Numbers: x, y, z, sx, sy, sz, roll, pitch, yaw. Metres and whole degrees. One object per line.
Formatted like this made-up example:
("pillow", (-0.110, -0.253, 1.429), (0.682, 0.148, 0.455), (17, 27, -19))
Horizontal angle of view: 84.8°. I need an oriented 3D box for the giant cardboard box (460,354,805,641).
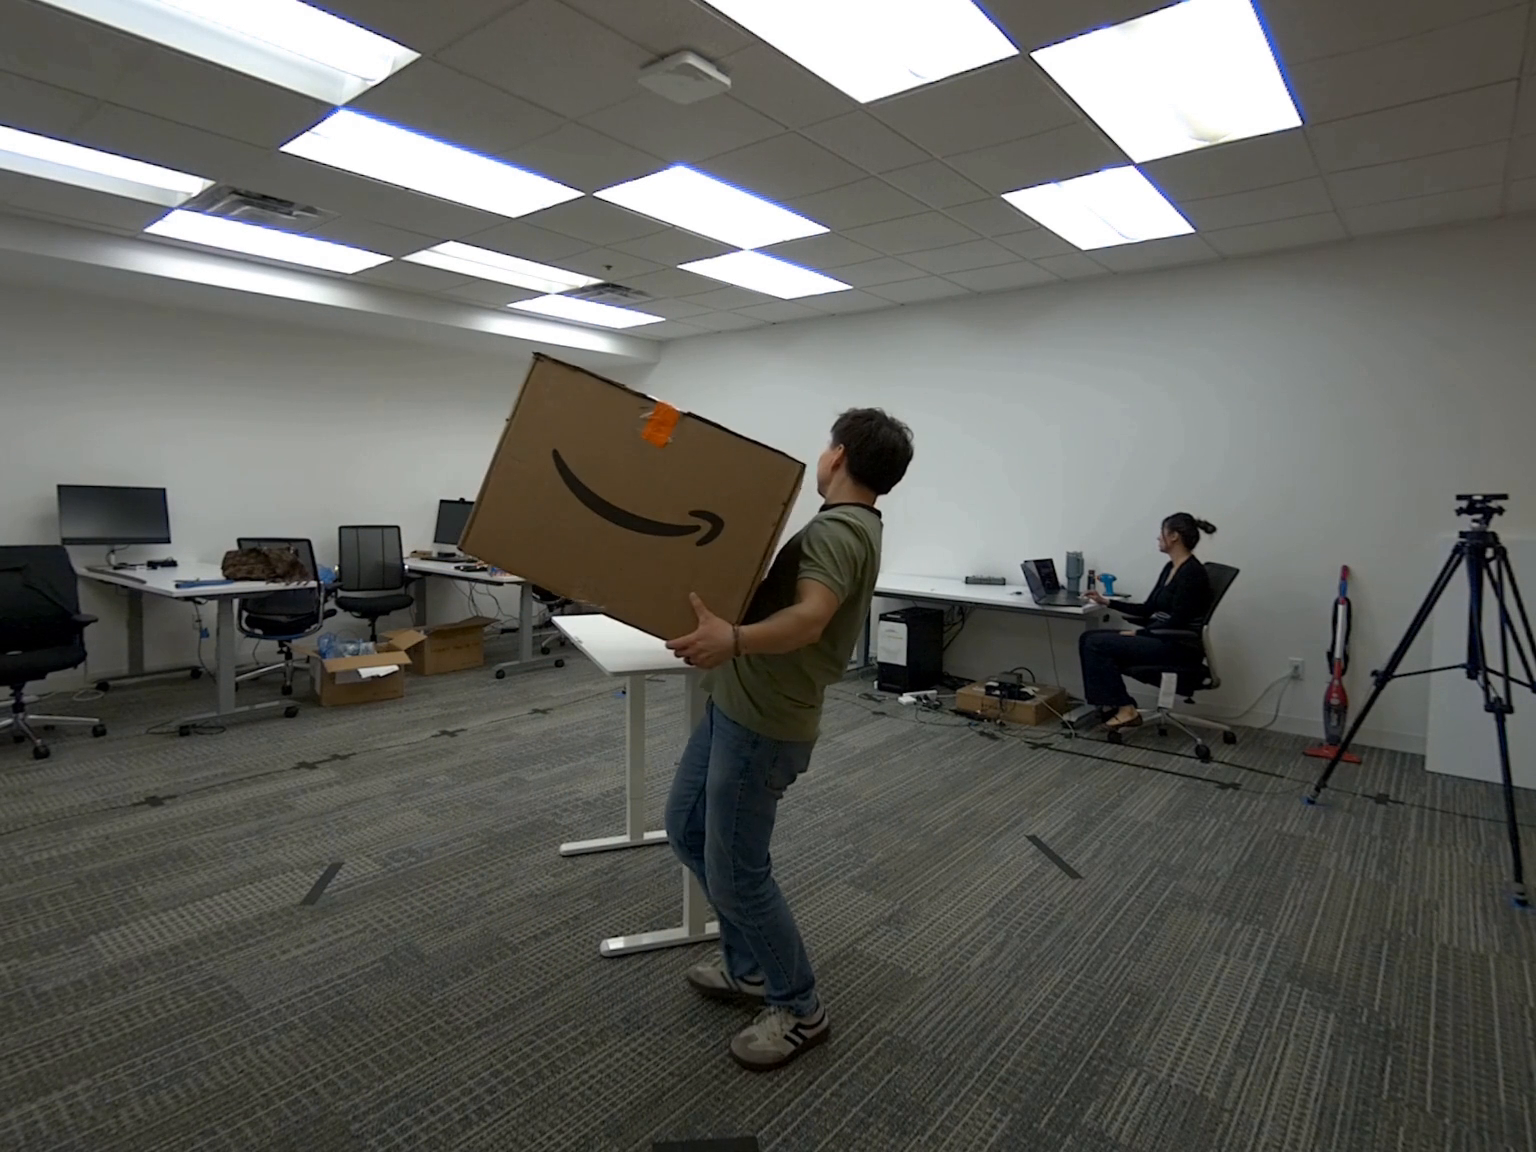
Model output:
("giant cardboard box", (-0.265, -0.171, 2.158), (0.581, 0.425, 1.023), (24, 5, 2))
